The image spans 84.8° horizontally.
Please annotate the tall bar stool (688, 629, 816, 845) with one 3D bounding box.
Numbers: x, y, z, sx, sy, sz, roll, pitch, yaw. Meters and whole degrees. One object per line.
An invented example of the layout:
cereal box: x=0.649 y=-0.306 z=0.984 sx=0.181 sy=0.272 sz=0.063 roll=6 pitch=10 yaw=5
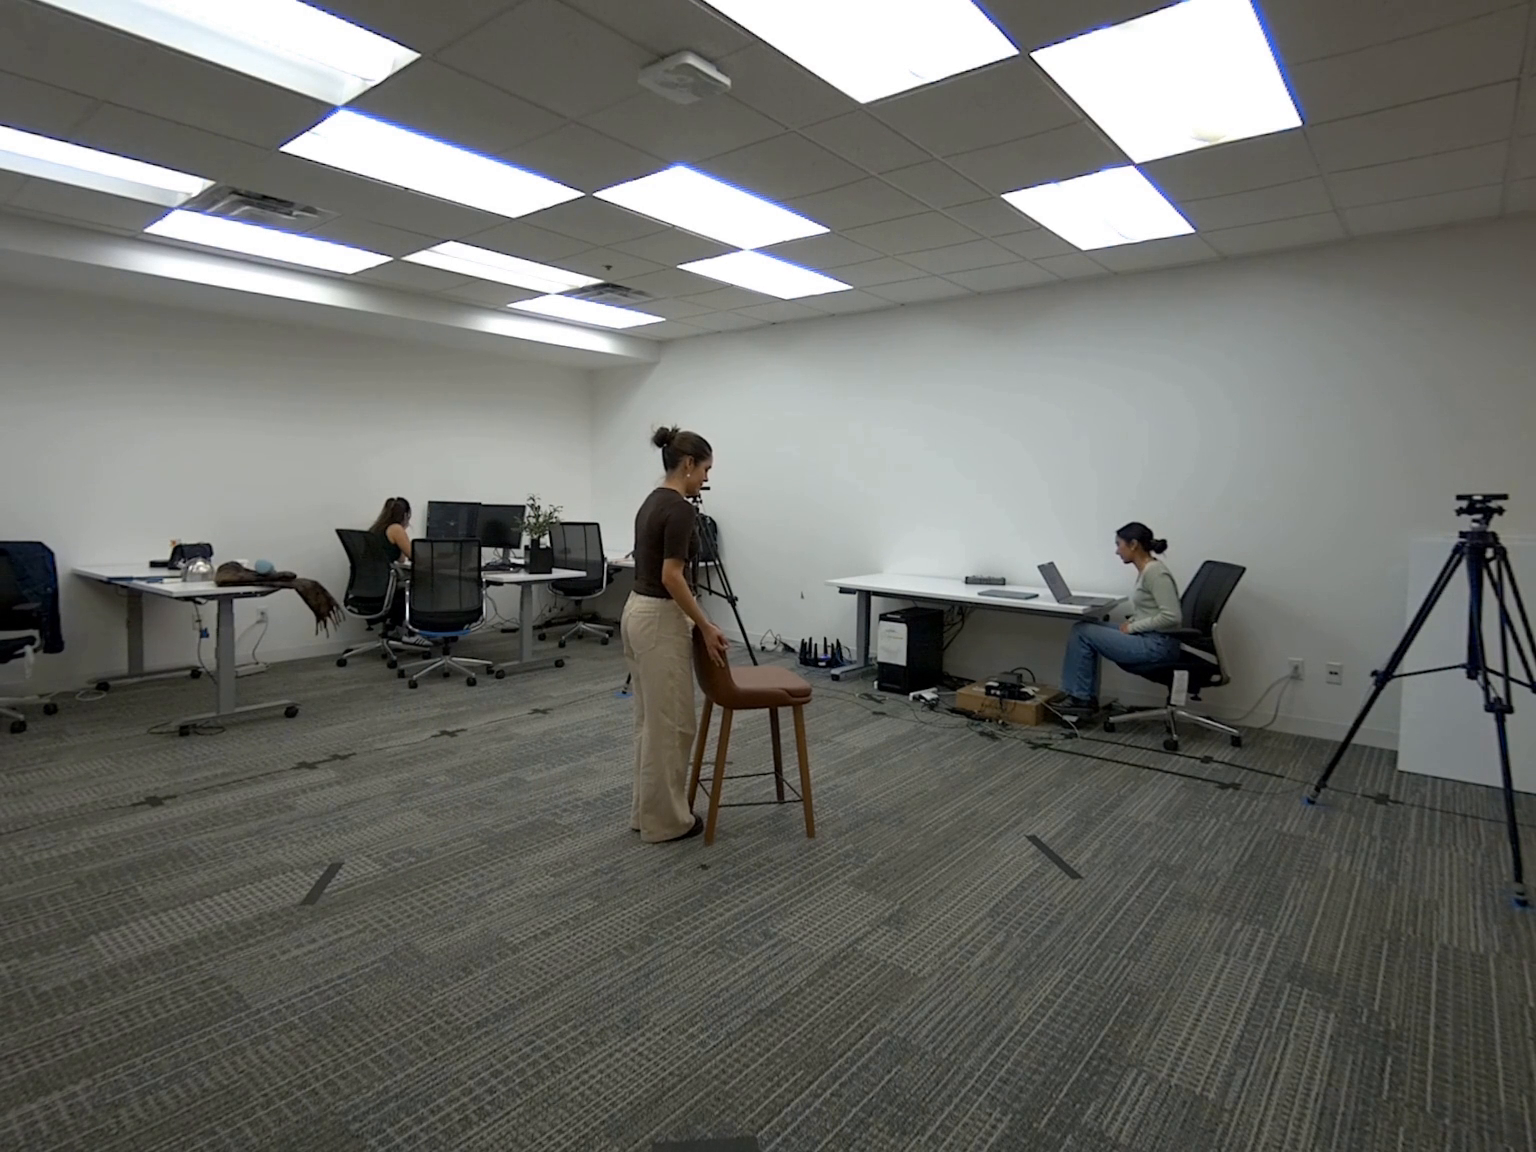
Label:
tall bar stool: x=-0.088 y=0.591 z=3.517 sx=0.460 sy=0.887 sz=0.466 roll=-1 pitch=4 yaw=-17
